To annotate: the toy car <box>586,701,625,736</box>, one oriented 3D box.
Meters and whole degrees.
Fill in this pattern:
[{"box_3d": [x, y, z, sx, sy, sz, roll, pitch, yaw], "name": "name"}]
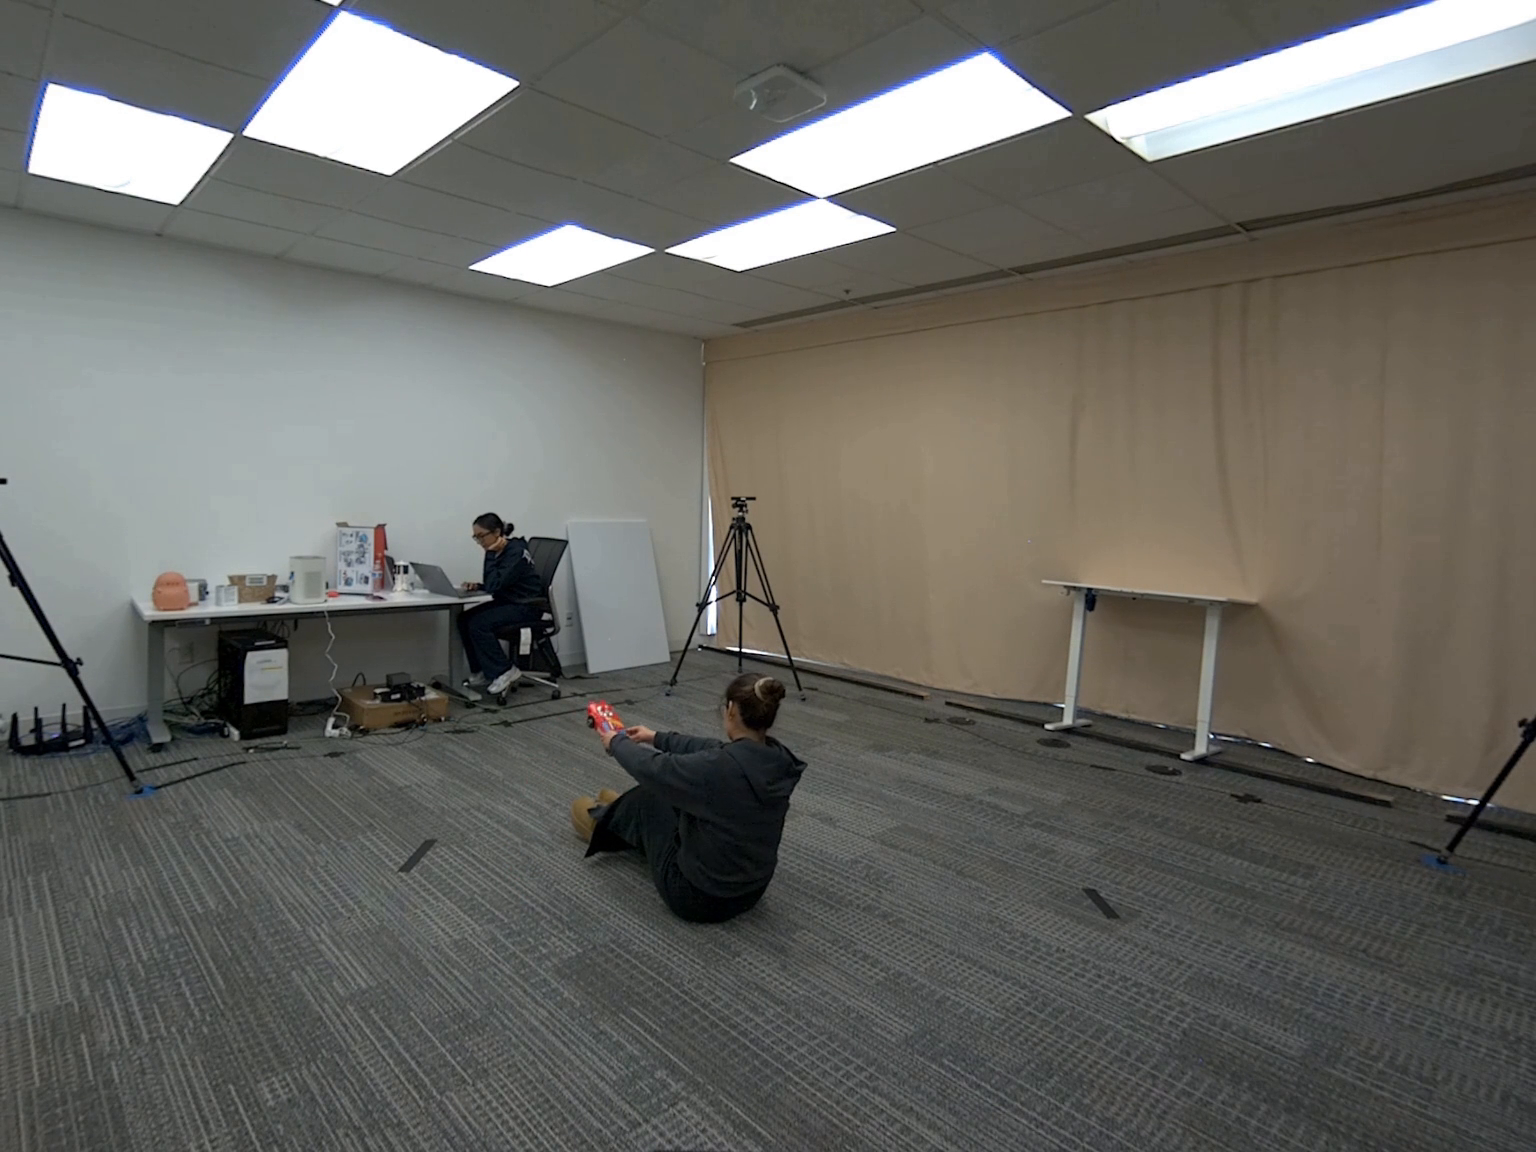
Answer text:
[{"box_3d": [-0.608, 0.581, 3.187, 0.127, 0.261, 0.083, 4, -43, -46], "name": "toy car"}]
